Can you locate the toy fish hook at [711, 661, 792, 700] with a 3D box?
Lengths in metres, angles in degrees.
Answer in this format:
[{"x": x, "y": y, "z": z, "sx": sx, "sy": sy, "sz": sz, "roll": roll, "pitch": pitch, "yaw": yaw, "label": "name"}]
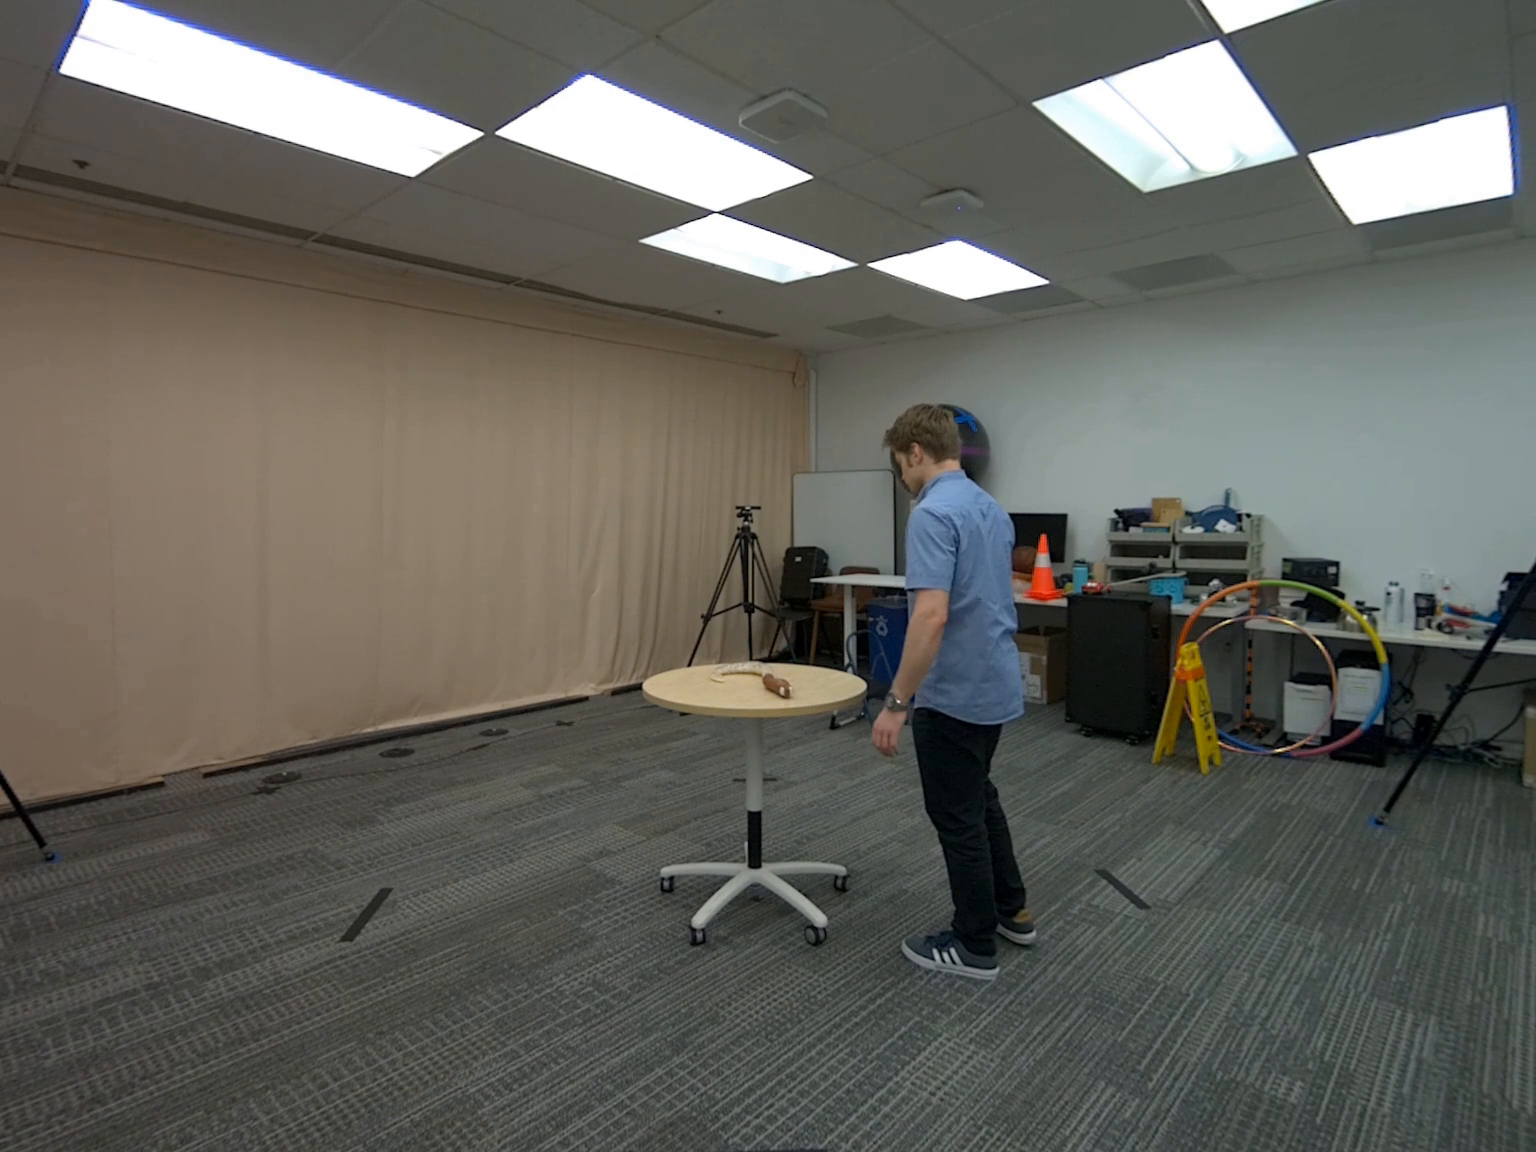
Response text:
[{"x": -0.056, "y": 0.359, "z": 2.870, "sx": 0.222, "sy": 0.048, "sz": 0.514, "roll": -9, "pitch": 5, "yaw": -13, "label": "toy fish hook"}]
